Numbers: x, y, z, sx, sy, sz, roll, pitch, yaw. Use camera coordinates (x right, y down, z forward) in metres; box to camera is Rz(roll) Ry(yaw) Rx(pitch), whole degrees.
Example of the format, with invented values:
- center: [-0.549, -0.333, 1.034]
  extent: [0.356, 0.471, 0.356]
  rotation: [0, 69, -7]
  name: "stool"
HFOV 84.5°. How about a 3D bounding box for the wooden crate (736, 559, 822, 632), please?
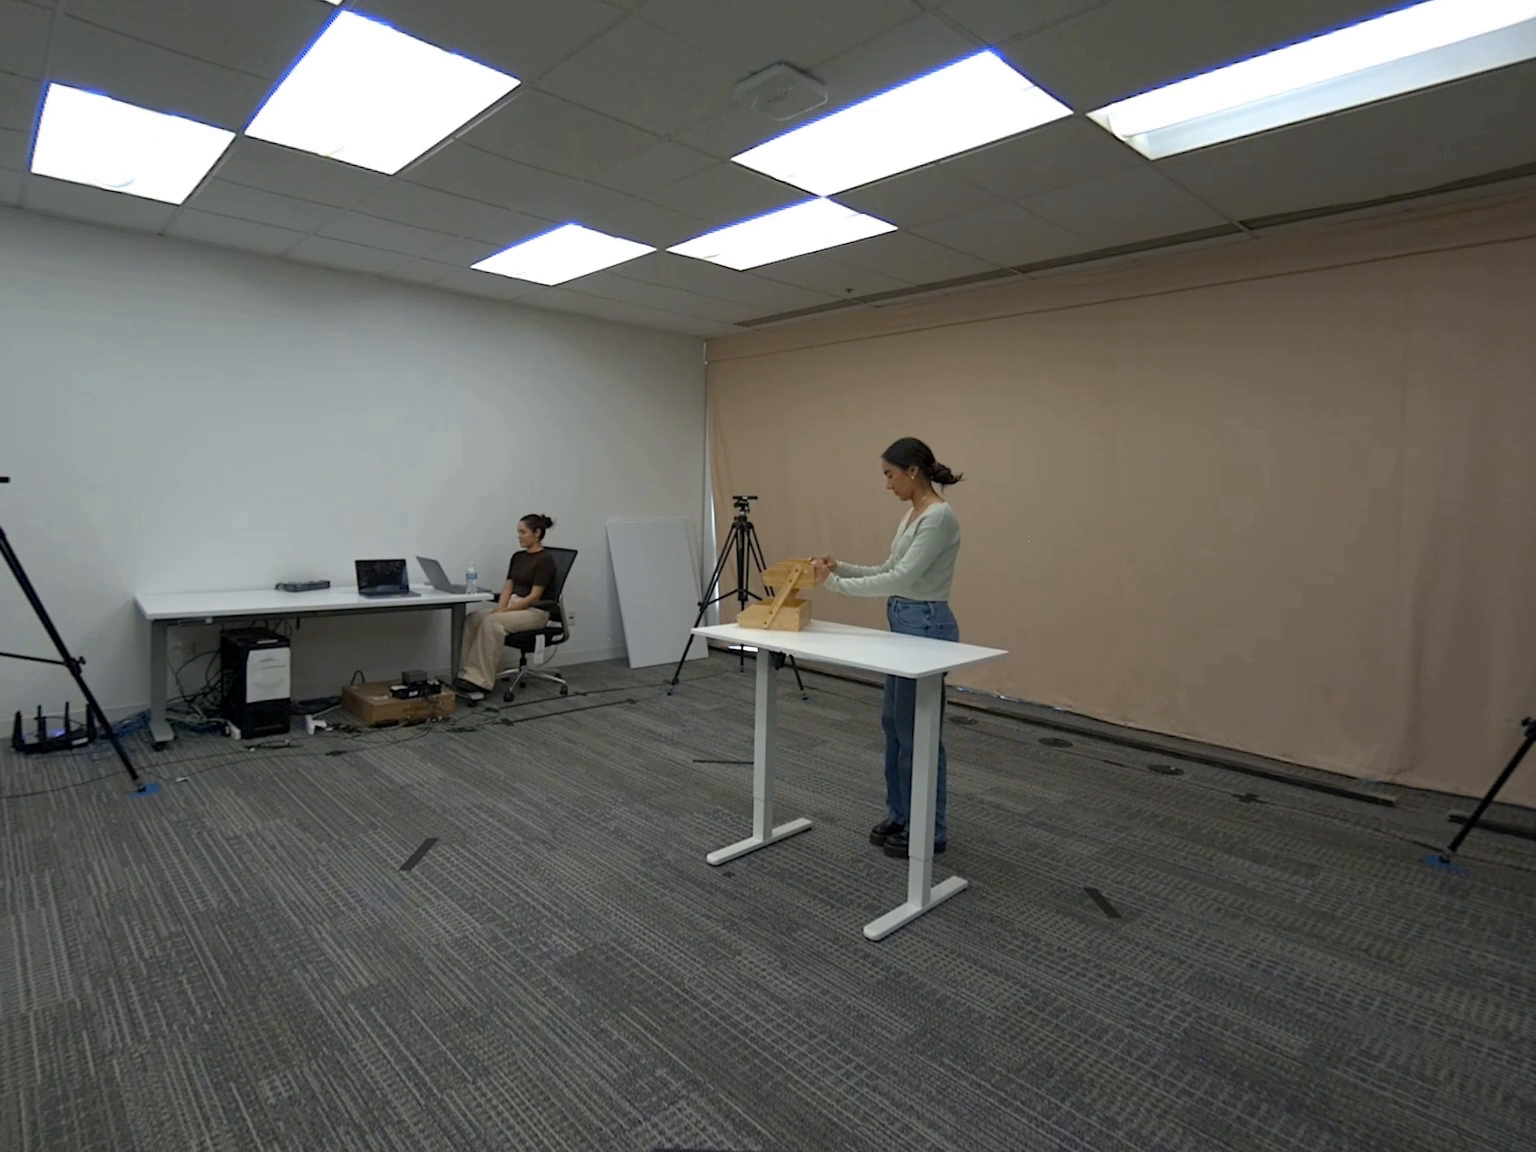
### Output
- center: [0.057, 0.063, 3.378]
  extent: [0.306, 0.272, 0.321]
  rotation: [3, 5, 14]
  name: "wooden crate"
